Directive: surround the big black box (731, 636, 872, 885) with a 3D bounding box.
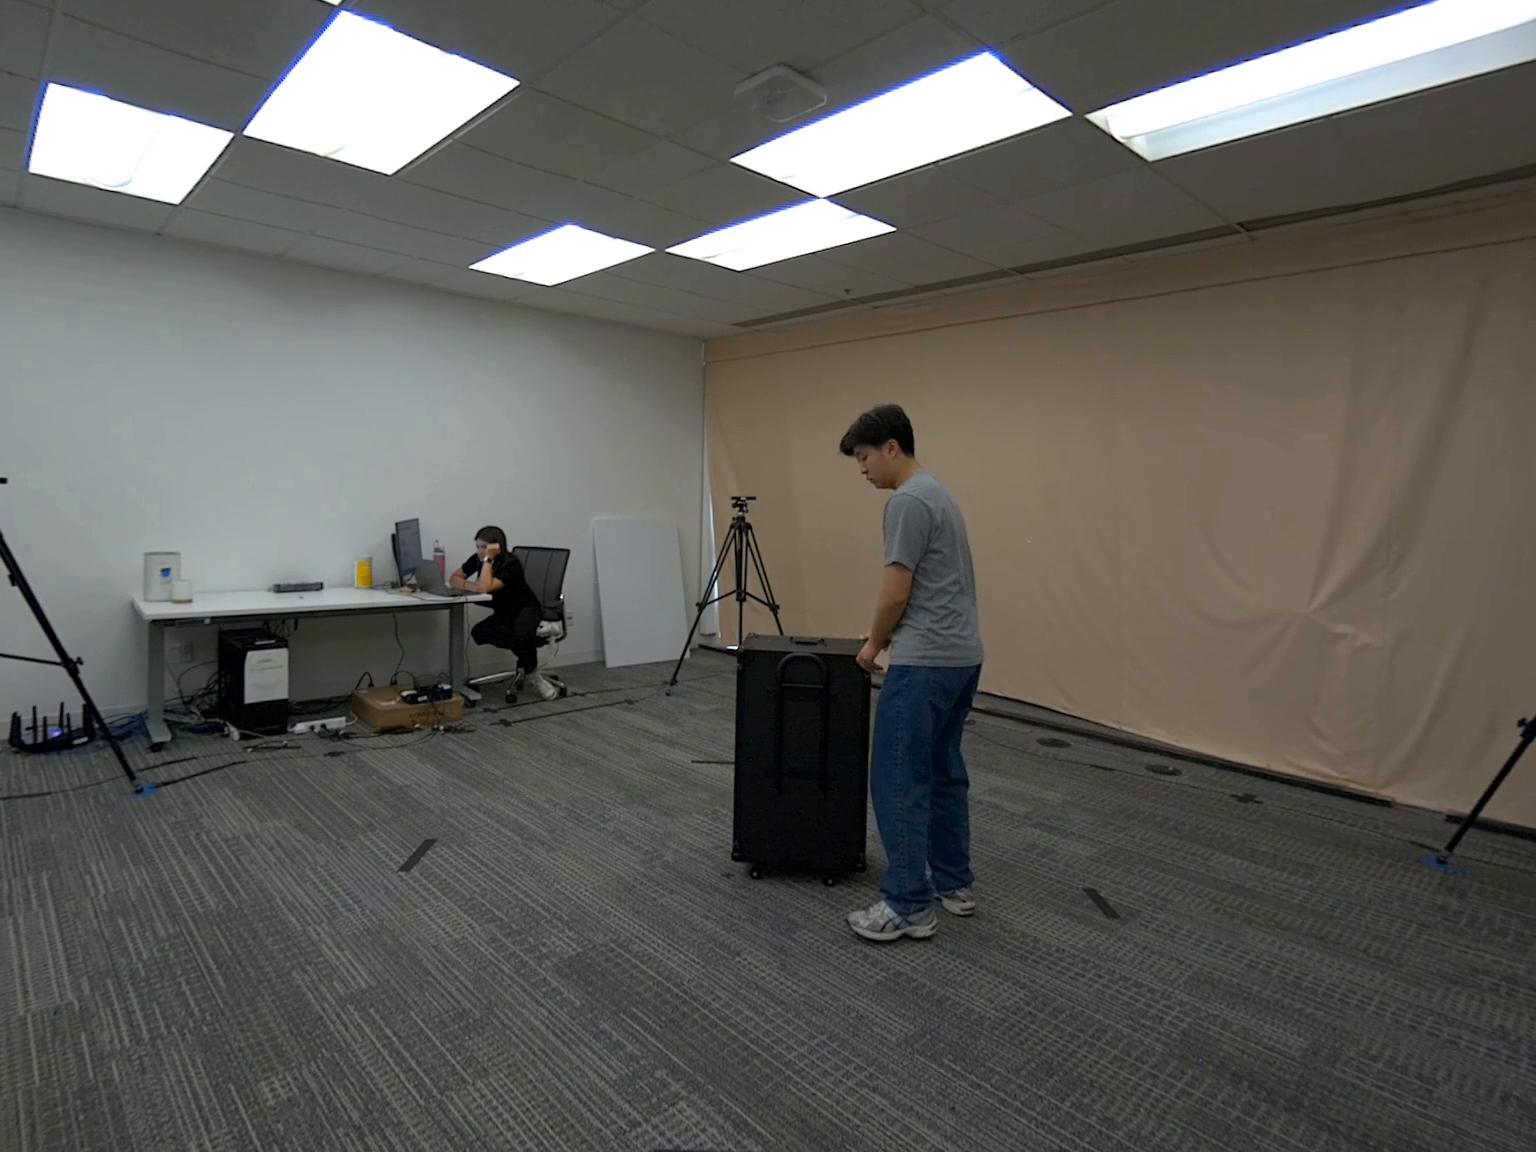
[{"bbox_3d":[0.127,0.685,3.178,0.525,0.859,0.394,2,3,8],"label":"big black box"}]
